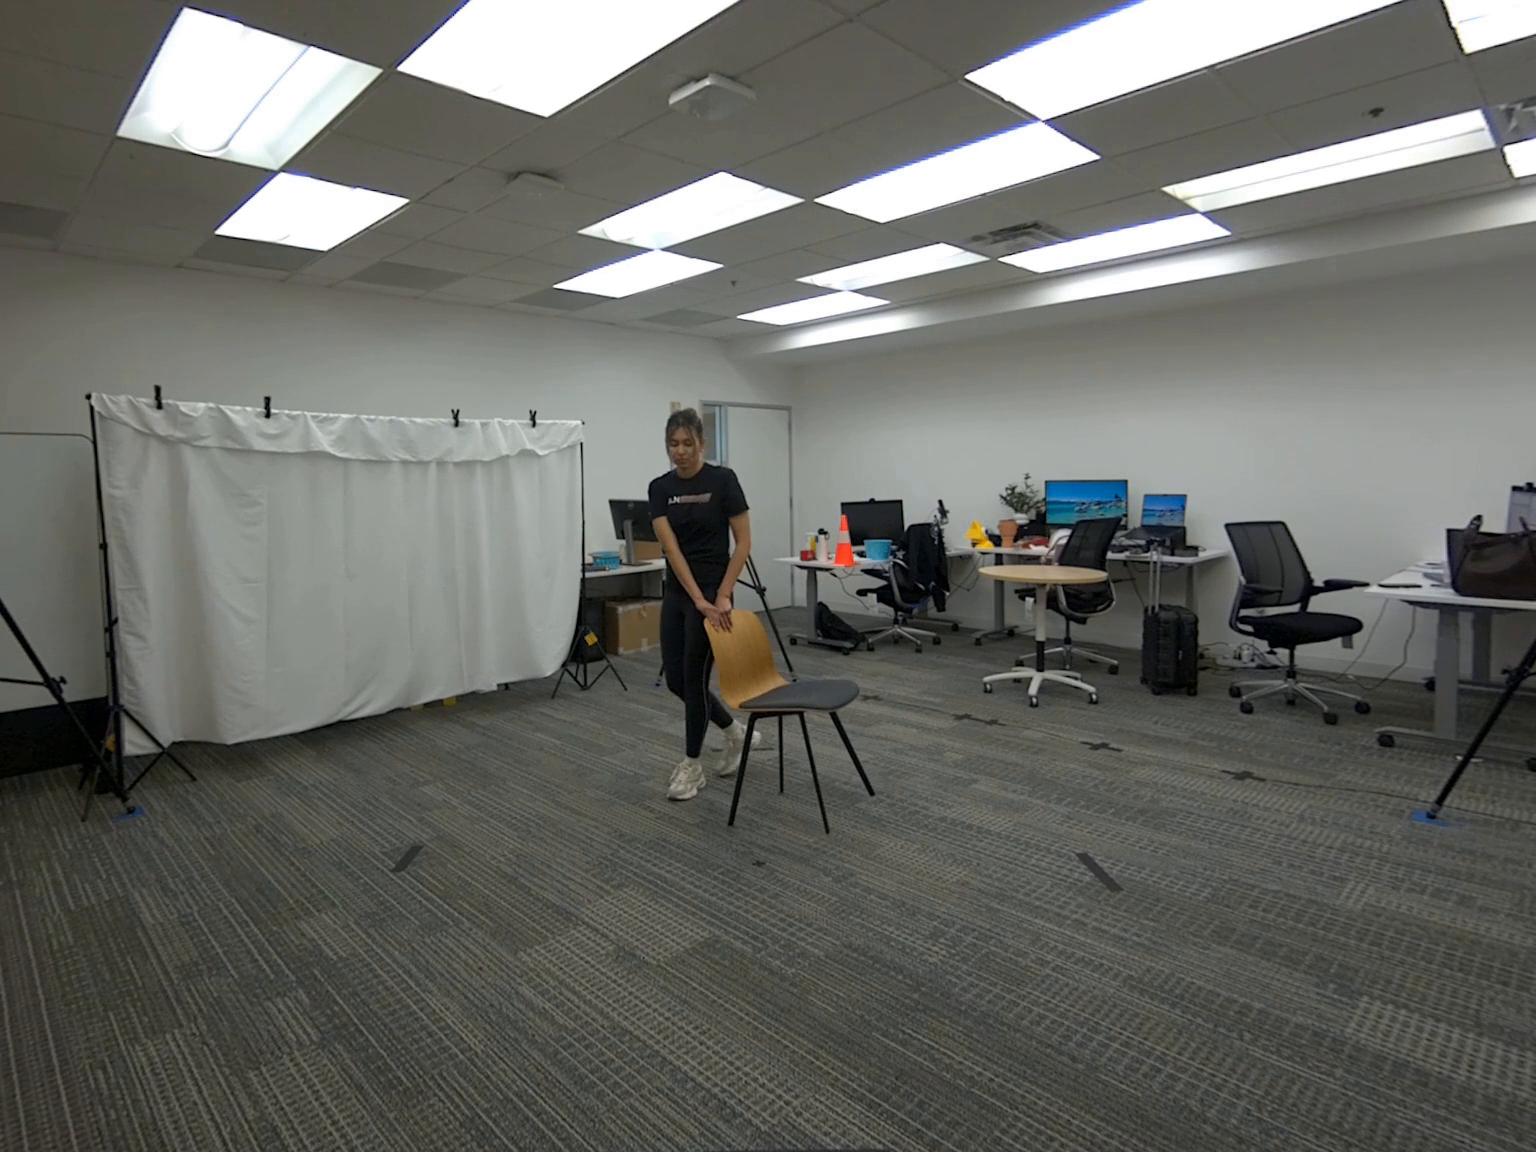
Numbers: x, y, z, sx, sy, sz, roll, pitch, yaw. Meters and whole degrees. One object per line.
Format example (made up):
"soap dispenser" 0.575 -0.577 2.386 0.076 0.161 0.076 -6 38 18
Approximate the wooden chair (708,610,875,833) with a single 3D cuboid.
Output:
"wooden chair" 0.093 0.544 3.506 0.534 0.881 0.467 -13 -3 33
